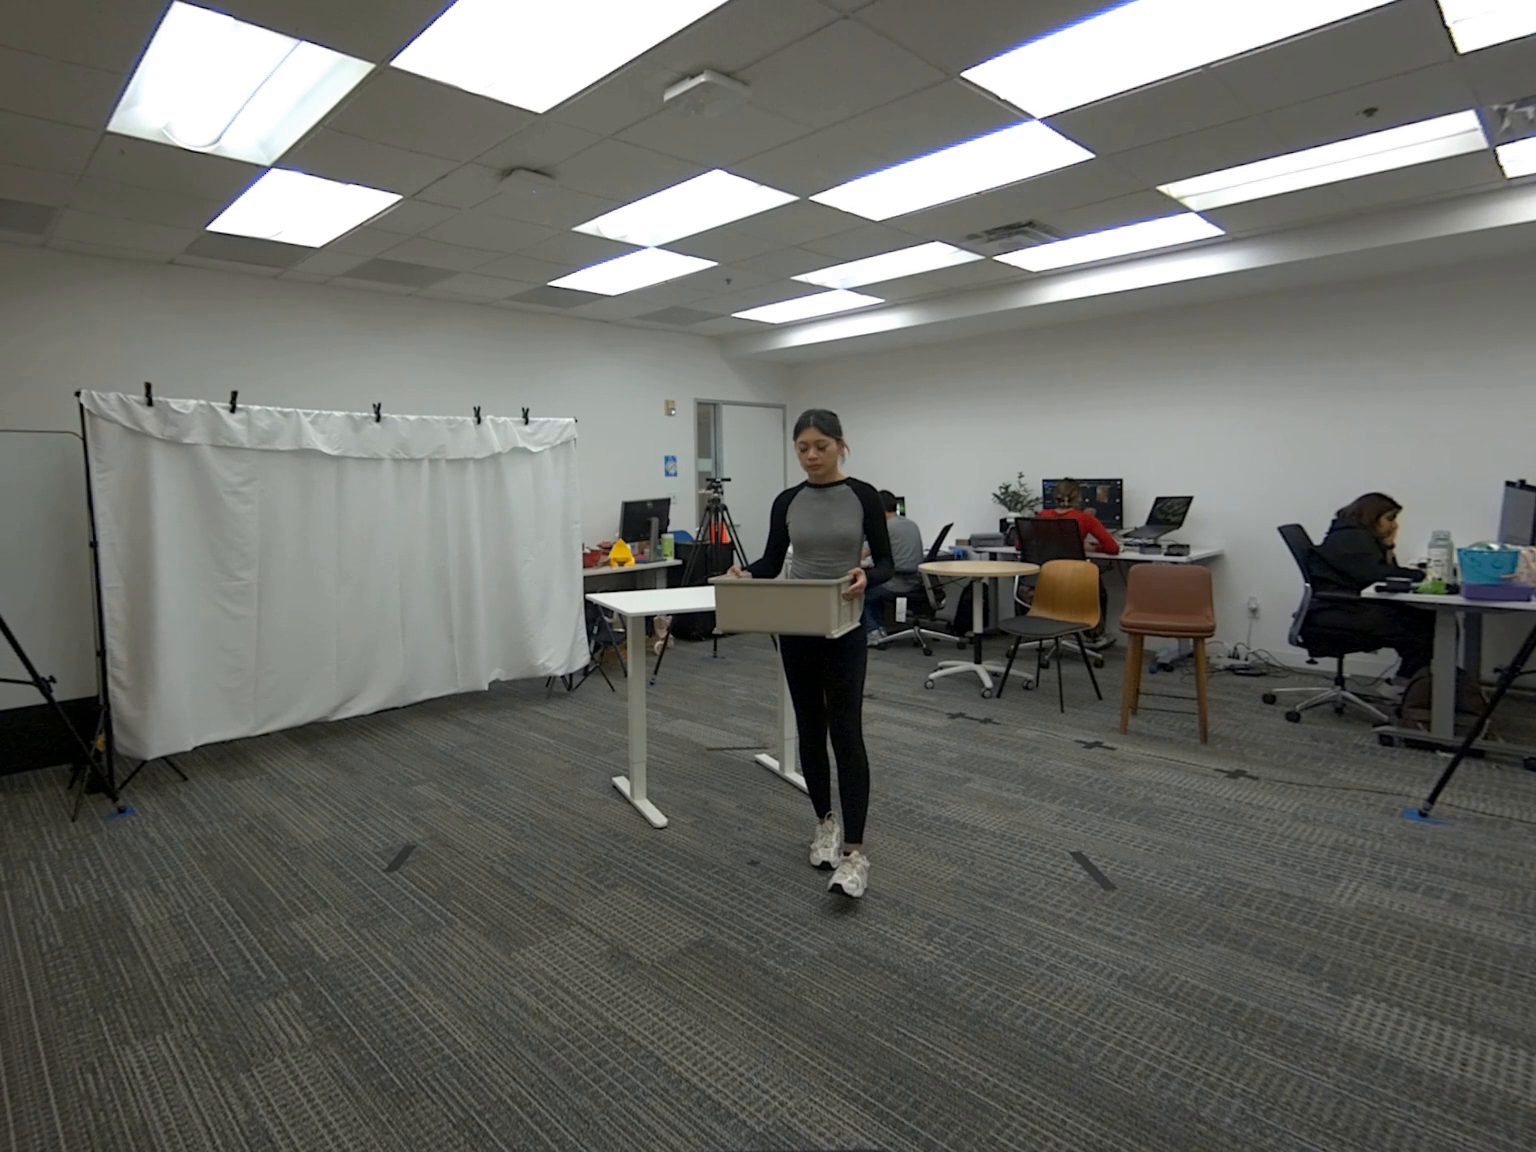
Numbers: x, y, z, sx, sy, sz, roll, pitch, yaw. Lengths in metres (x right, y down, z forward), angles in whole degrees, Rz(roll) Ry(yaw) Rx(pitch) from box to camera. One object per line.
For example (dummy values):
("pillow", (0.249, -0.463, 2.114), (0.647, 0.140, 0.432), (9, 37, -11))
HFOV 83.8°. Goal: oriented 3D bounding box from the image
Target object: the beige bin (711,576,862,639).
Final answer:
("beige bin", (0.064, 0.086, 2.838), (0.431, 0.188, 0.371), (1, 6, 22))
